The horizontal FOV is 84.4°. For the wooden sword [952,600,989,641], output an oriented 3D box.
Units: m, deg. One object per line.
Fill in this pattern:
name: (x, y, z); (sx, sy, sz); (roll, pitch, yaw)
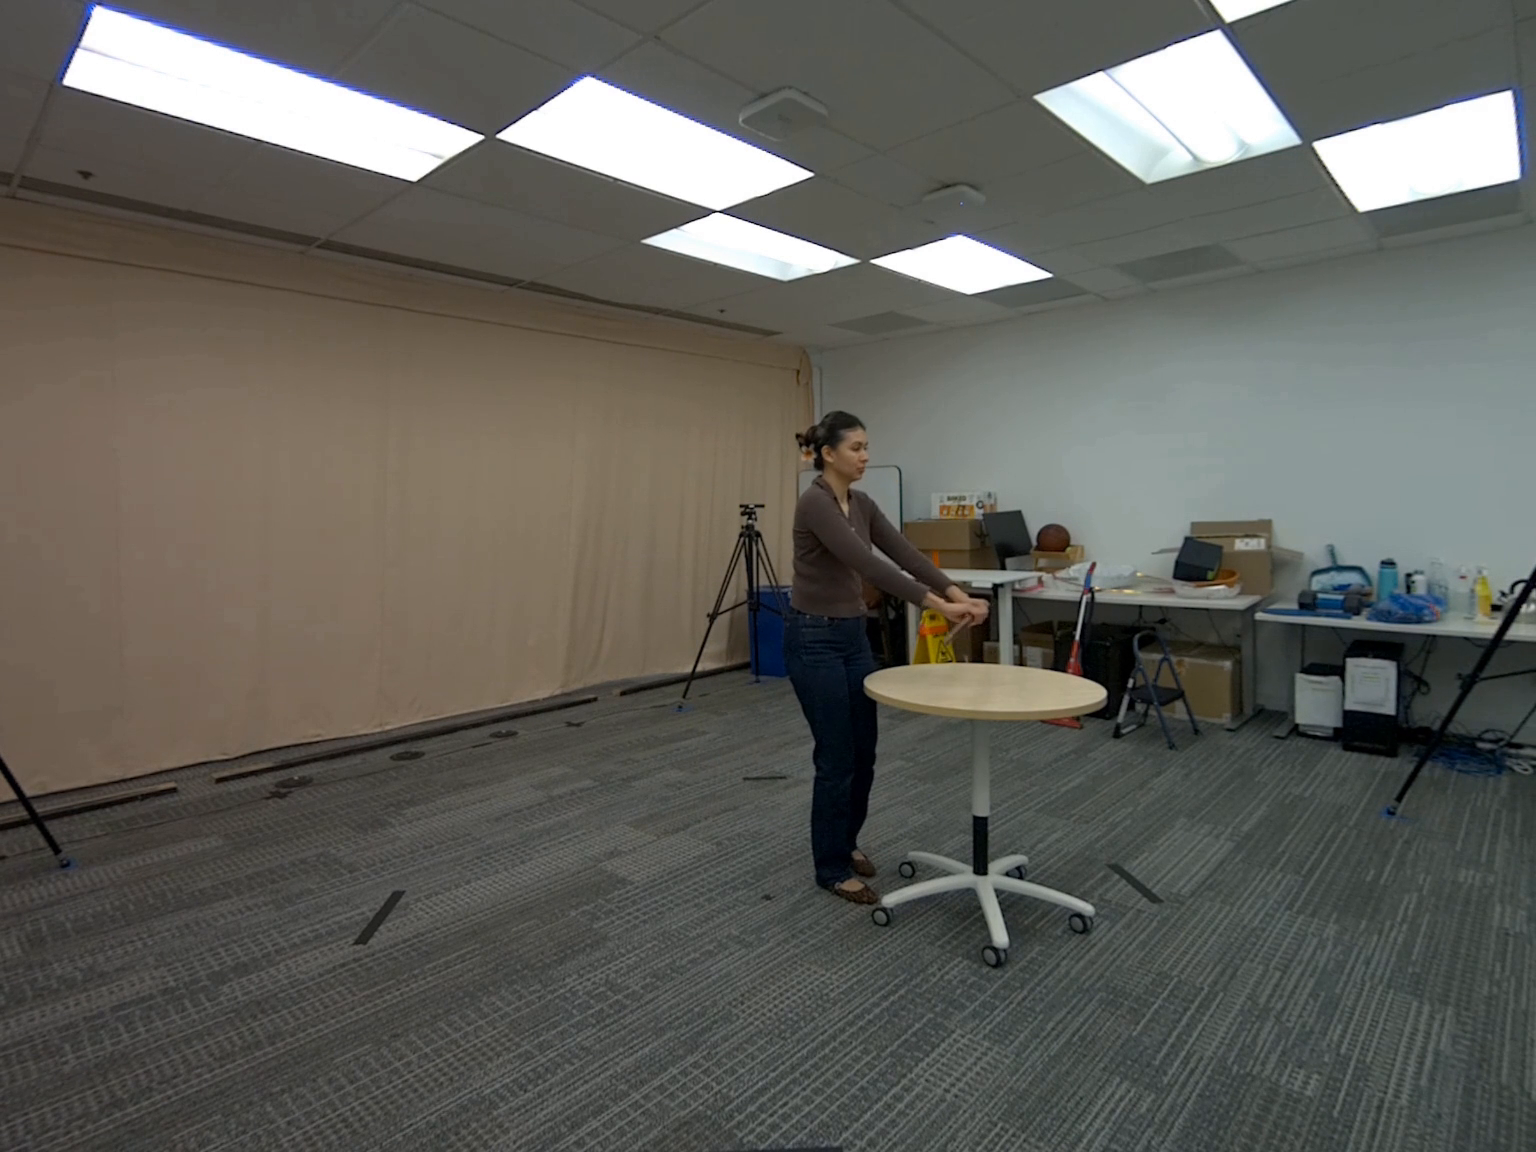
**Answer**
wooden sword: (0.677, 0.134, 2.695); (0.052, 0.024, 1.006); (-10, 0, 17)
